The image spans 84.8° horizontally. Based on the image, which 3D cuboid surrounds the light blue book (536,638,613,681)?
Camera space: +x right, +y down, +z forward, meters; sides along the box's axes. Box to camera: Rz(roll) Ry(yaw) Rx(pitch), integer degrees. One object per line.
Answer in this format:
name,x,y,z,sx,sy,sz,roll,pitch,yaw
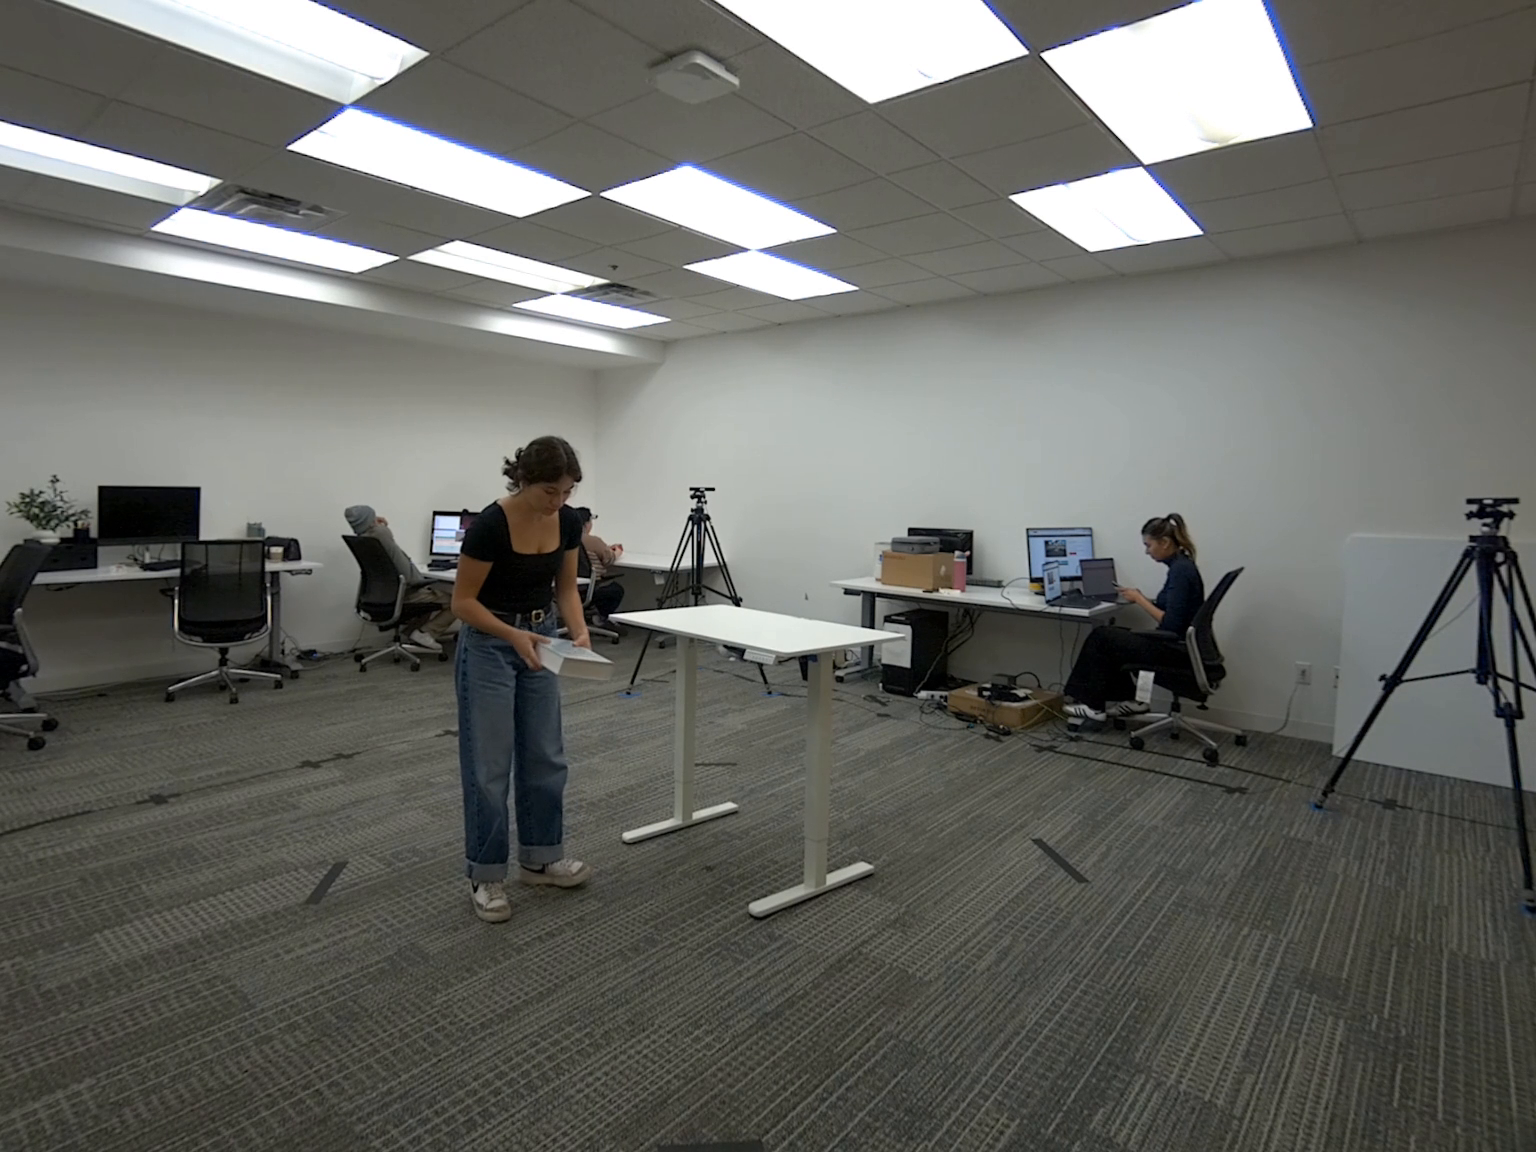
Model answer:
light blue book,-0.636,0.254,2.606,0.184,0.059,0.271,15,1,-40
